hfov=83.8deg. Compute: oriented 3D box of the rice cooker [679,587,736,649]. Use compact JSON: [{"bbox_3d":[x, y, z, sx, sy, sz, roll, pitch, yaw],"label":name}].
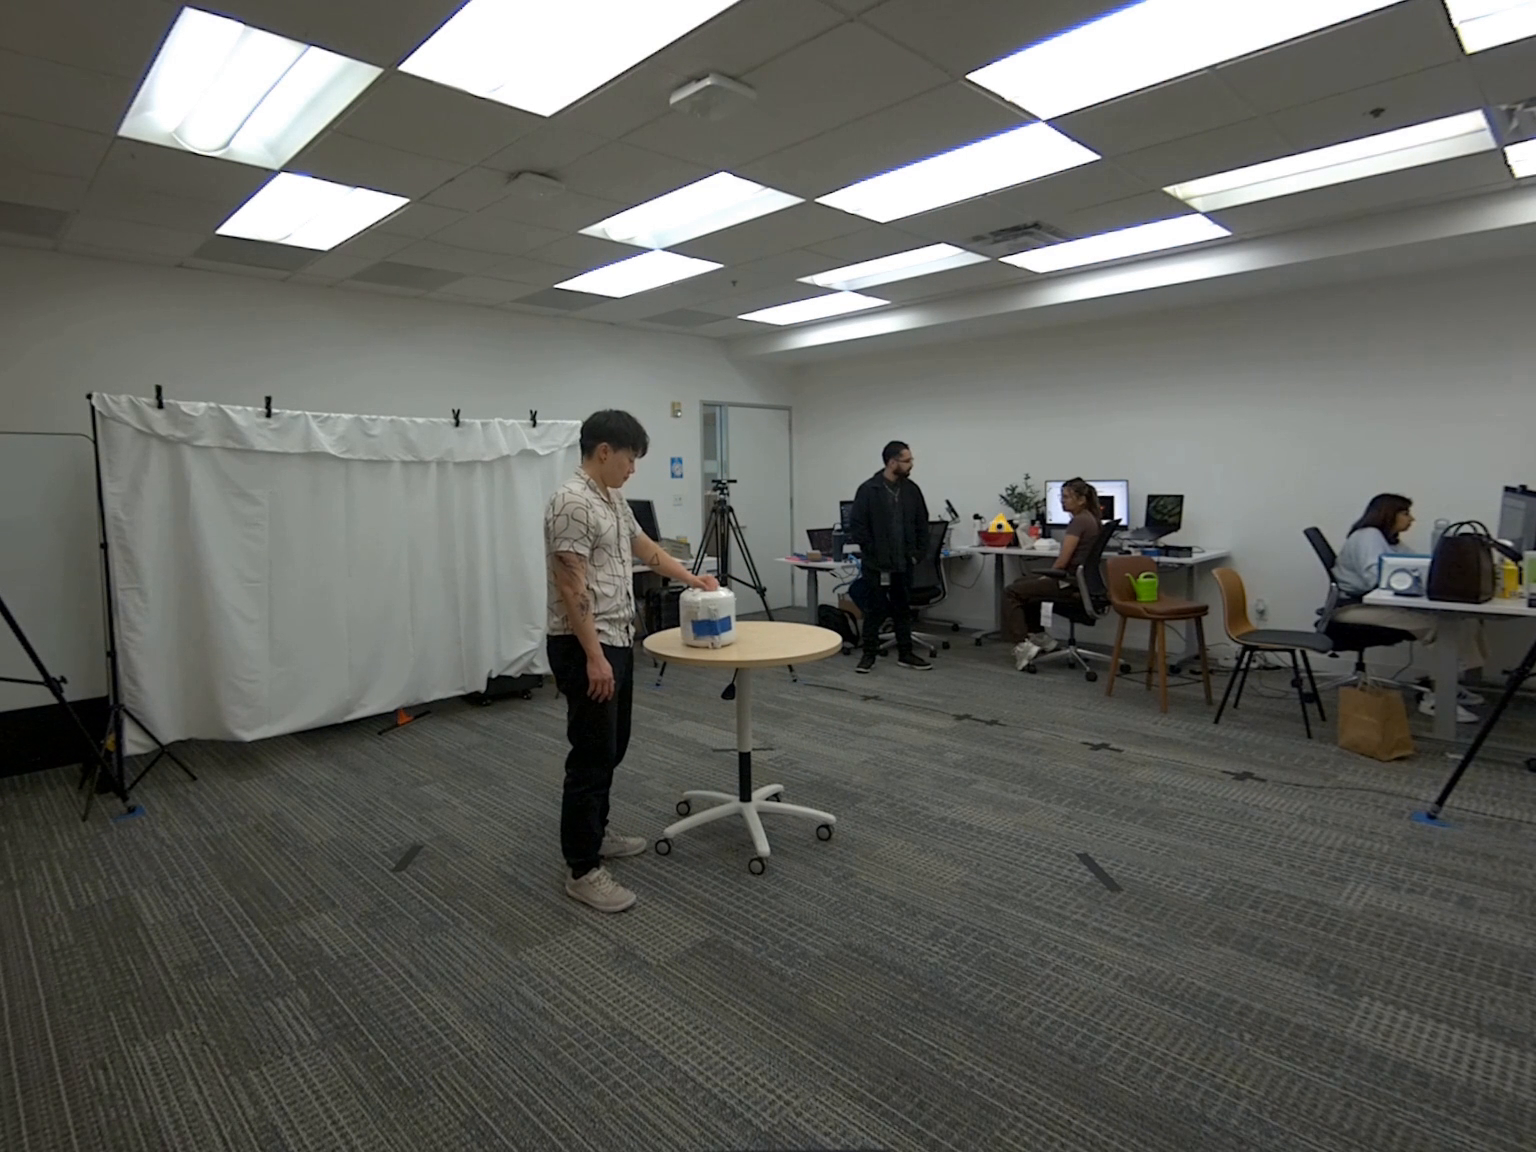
[{"bbox_3d":[-0.227,0.141,3.218,0.223,0.232,0.216,2,6,31],"label":"rice cooker"}]
